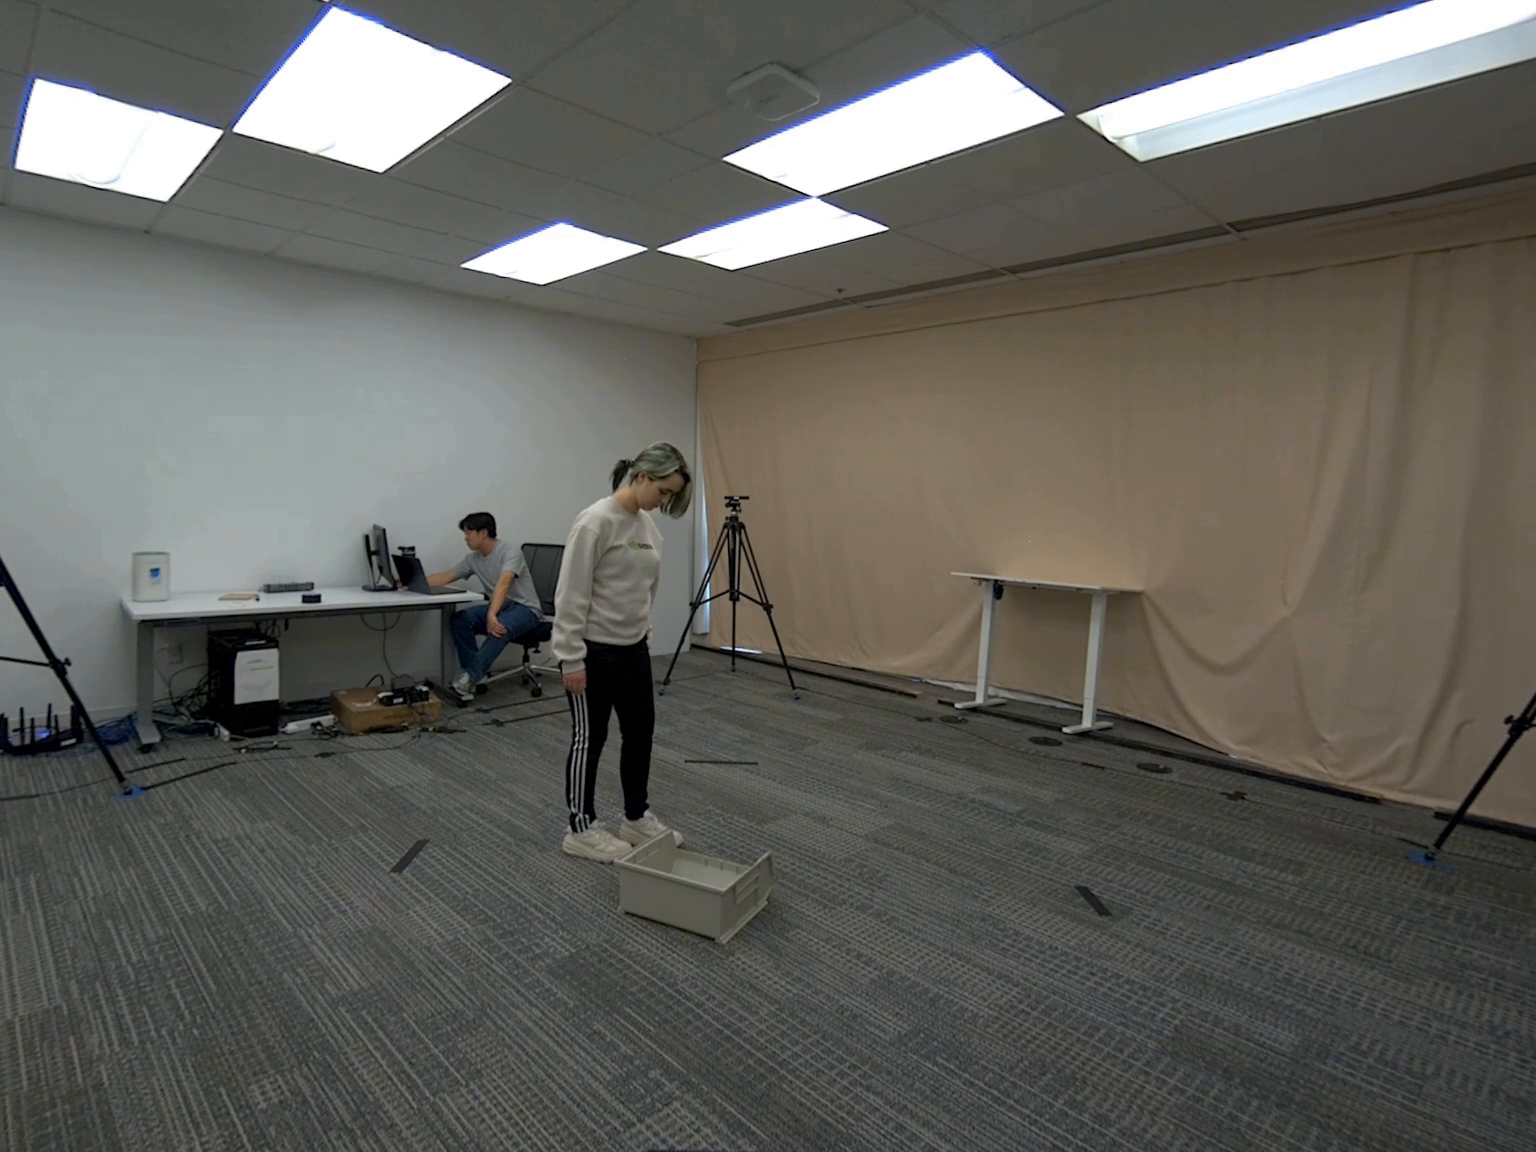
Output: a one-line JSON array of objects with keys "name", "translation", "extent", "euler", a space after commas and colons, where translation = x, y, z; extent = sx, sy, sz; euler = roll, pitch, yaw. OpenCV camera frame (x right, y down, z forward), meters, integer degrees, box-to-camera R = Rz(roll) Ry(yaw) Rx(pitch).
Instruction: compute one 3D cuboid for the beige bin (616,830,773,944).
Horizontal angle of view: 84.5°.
[{"name": "beige bin", "translation": [-0.248, 1.037, 2.861], "extent": [0.431, 0.188, 0.371], "euler": [4, 6, 27]}]
